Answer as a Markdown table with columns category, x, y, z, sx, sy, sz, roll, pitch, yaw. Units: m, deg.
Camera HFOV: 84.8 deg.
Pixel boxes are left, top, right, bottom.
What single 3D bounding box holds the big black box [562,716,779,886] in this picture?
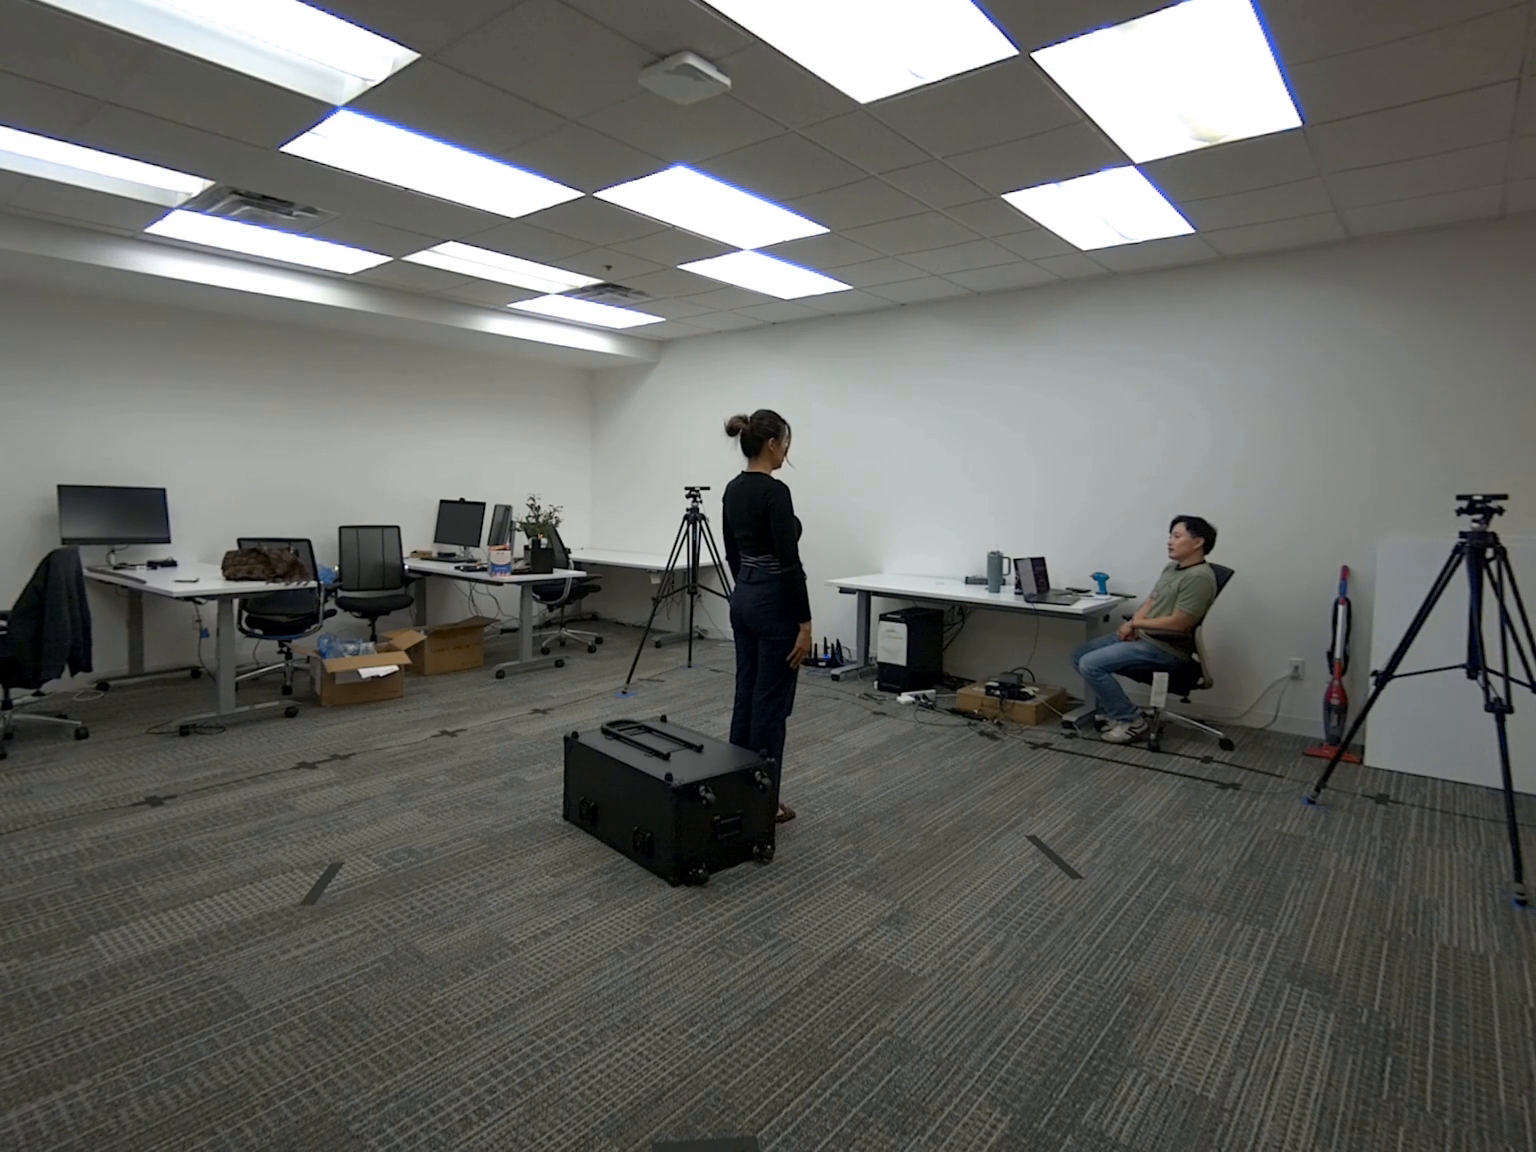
| category | x | y | z | sx | sy | sz | roll | pitch | yaw |
| --- | --- | --- | --- | --- | --- | --- | --- | --- | --- |
| big black box | -0.438 | 0.857 | 3.412 | 0.506 | 0.395 | 0.891 | -3 | 7 | -41 |
